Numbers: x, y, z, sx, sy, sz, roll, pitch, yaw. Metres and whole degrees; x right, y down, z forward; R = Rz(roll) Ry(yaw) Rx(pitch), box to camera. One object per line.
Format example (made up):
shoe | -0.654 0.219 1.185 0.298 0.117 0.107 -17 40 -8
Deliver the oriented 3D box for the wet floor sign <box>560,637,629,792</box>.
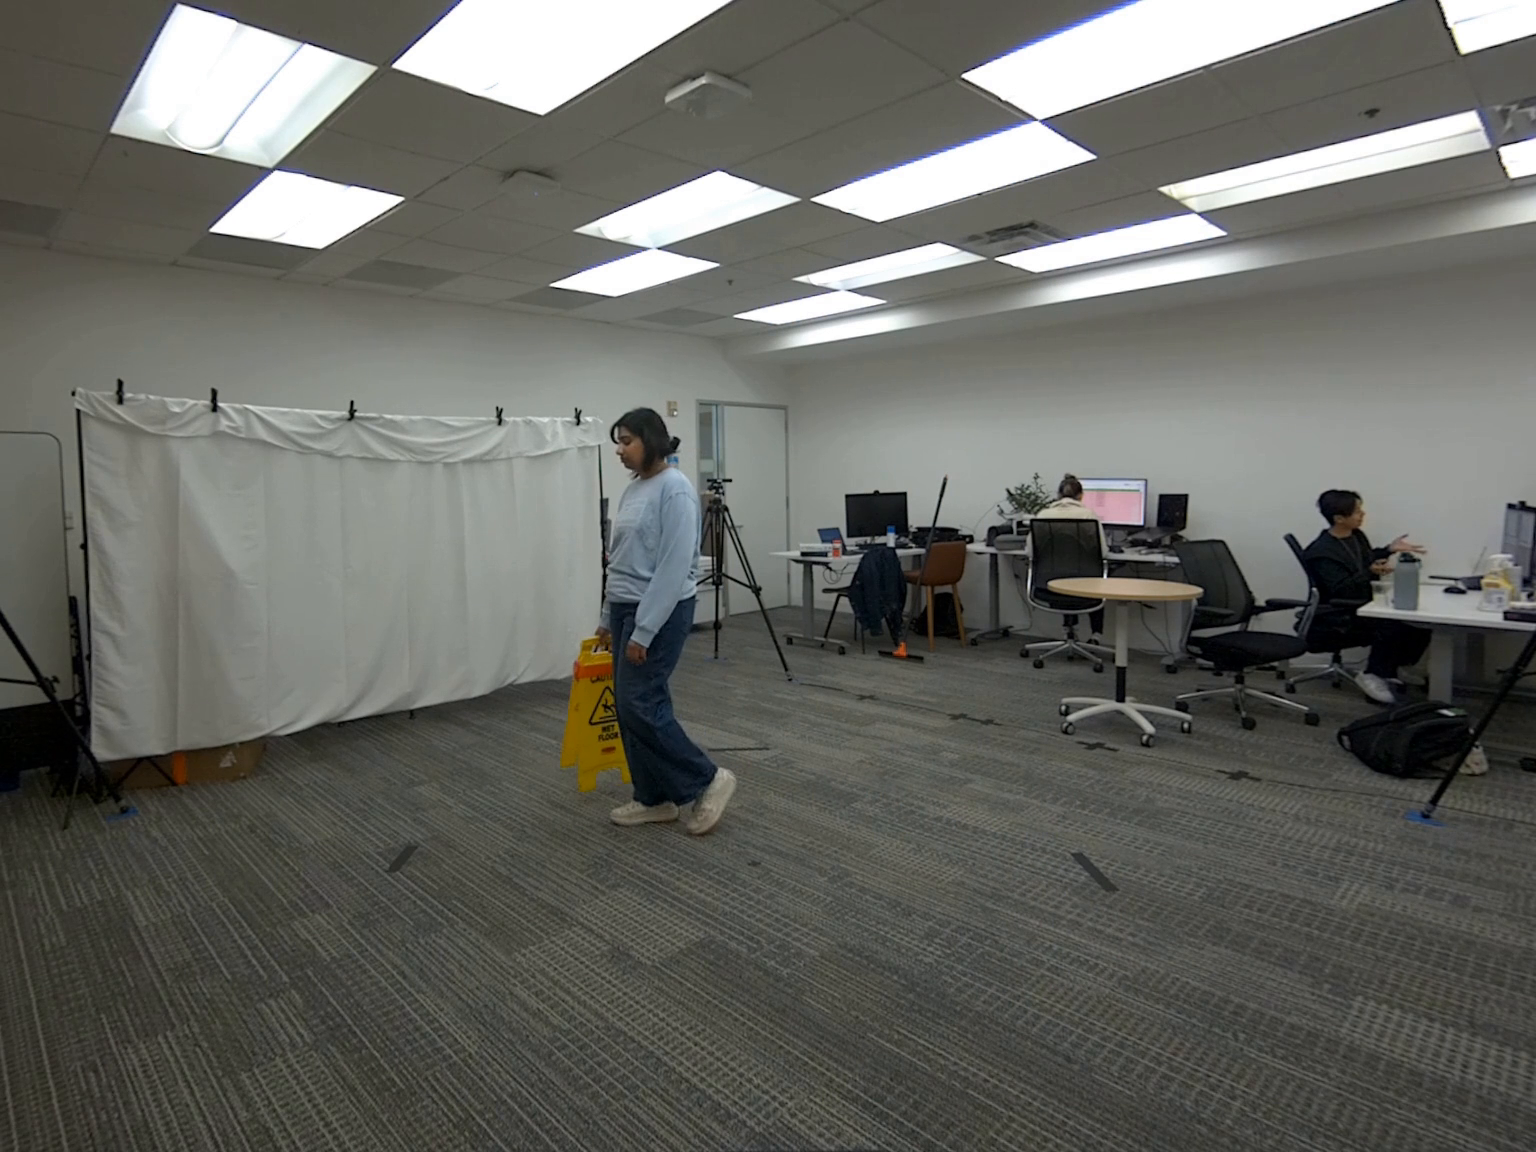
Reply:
wet floor sign | -0.728 0.576 3.766 0.275 0.639 0.300 -4 14 -31
